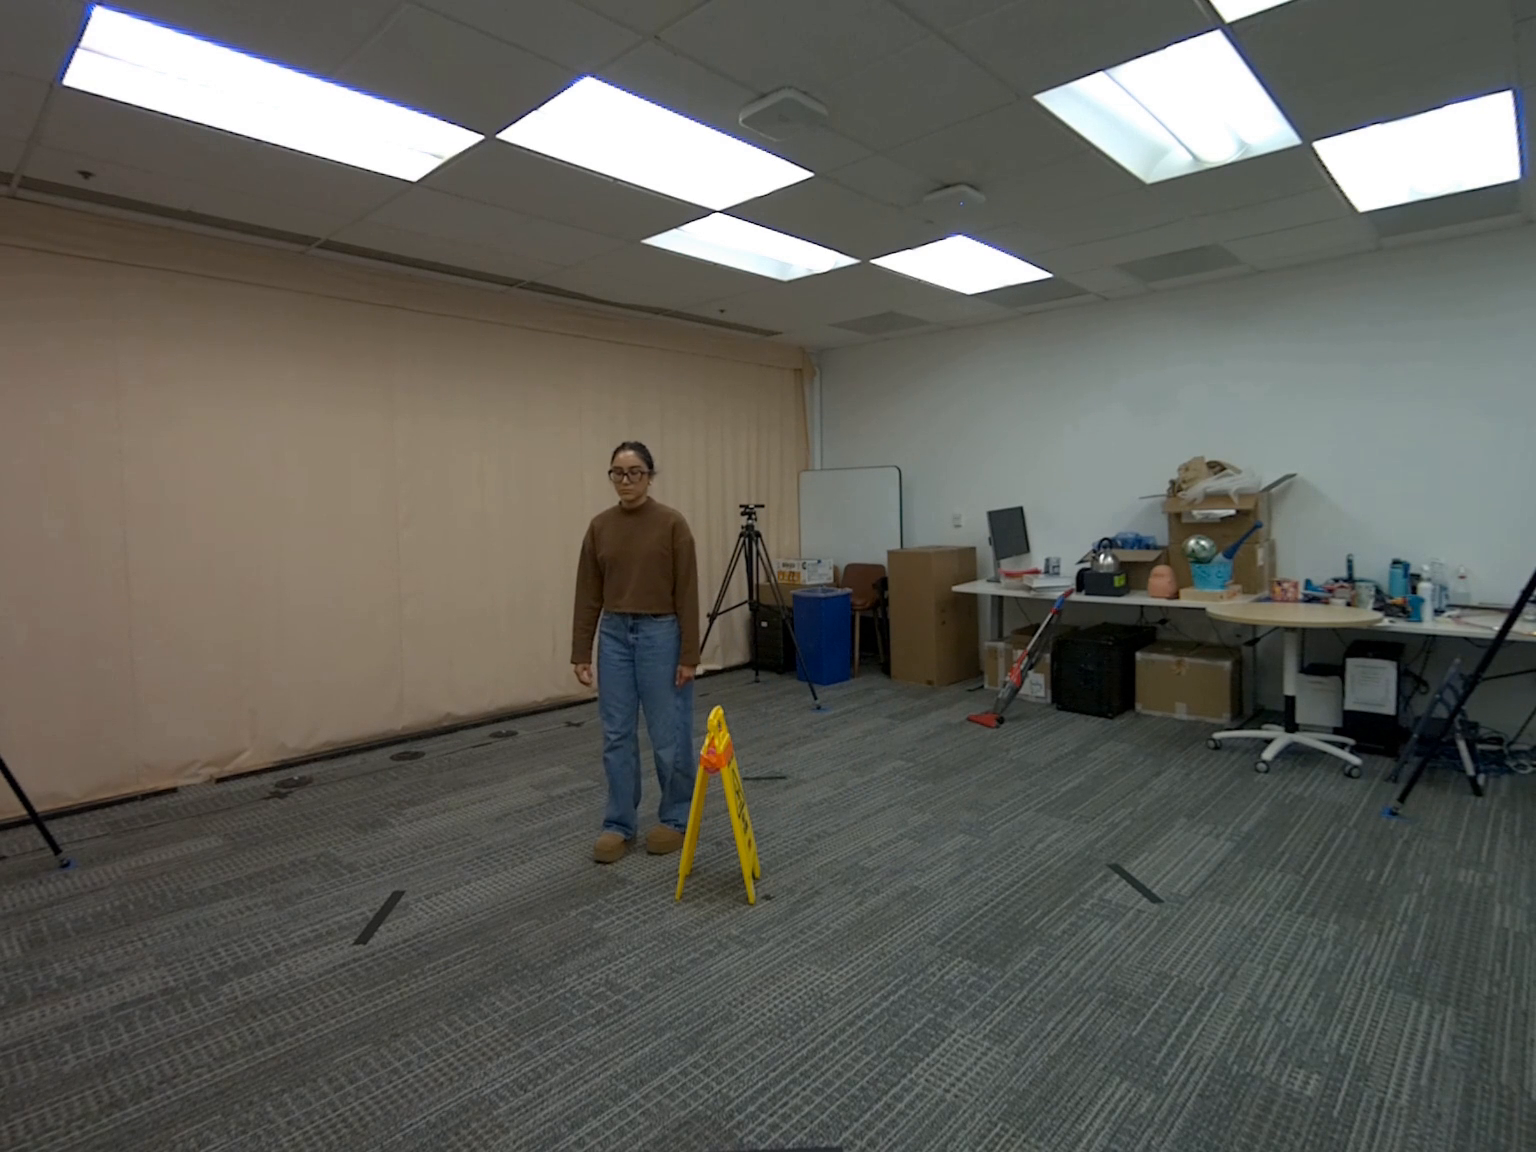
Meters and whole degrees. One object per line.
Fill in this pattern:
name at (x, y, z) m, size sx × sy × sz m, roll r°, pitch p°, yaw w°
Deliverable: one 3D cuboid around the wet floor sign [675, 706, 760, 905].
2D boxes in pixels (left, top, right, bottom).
wet floor sign at (-0.186, 0.816, 3.060) m, size 0.292 × 0.645 × 0.280 m, roll -1°, pitch 3°, yaw 6°
